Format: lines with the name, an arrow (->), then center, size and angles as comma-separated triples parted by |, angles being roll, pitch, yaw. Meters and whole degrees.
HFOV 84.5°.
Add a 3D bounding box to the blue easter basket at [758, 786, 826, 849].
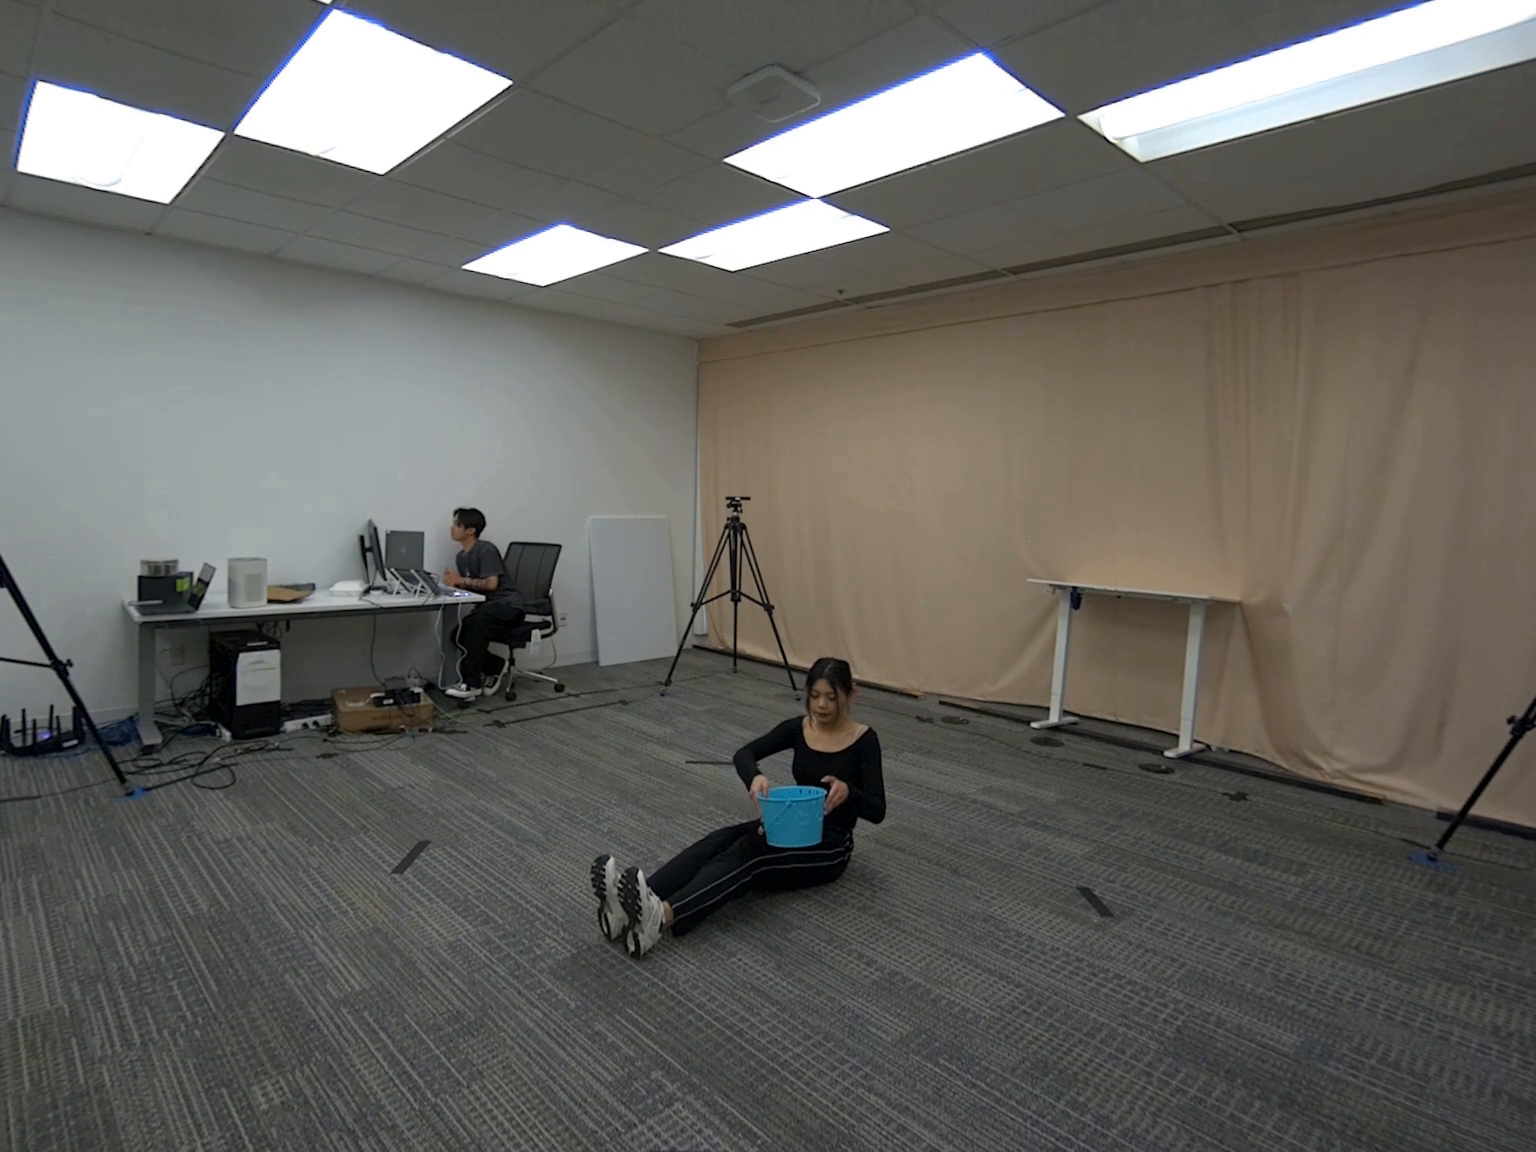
blue easter basket -> 0.062, 0.794, 2.778 | 0.243, 0.156, 0.243 | -2, -3, -1
